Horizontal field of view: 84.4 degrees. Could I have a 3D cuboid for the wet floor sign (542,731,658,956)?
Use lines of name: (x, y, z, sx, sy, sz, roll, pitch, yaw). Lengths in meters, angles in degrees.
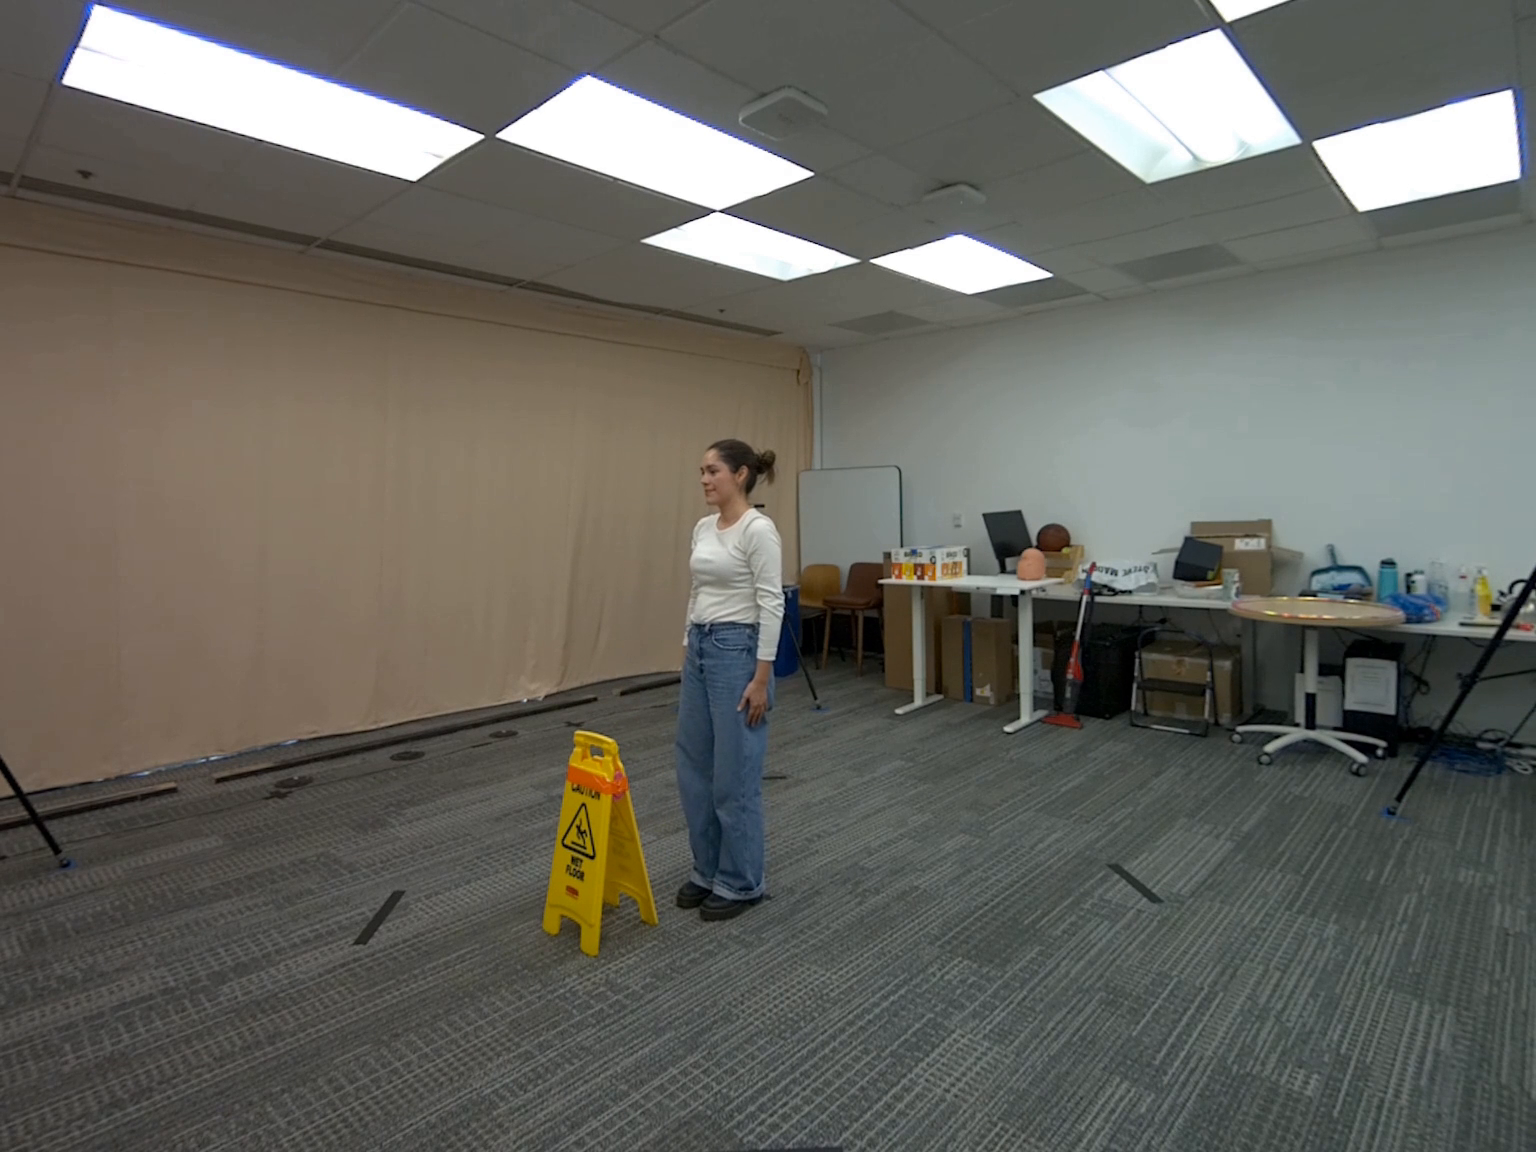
wet floor sign: (-0.554, 0.846, 2.789, 0.291, 0.645, 0.281, 2, 4, 41)
